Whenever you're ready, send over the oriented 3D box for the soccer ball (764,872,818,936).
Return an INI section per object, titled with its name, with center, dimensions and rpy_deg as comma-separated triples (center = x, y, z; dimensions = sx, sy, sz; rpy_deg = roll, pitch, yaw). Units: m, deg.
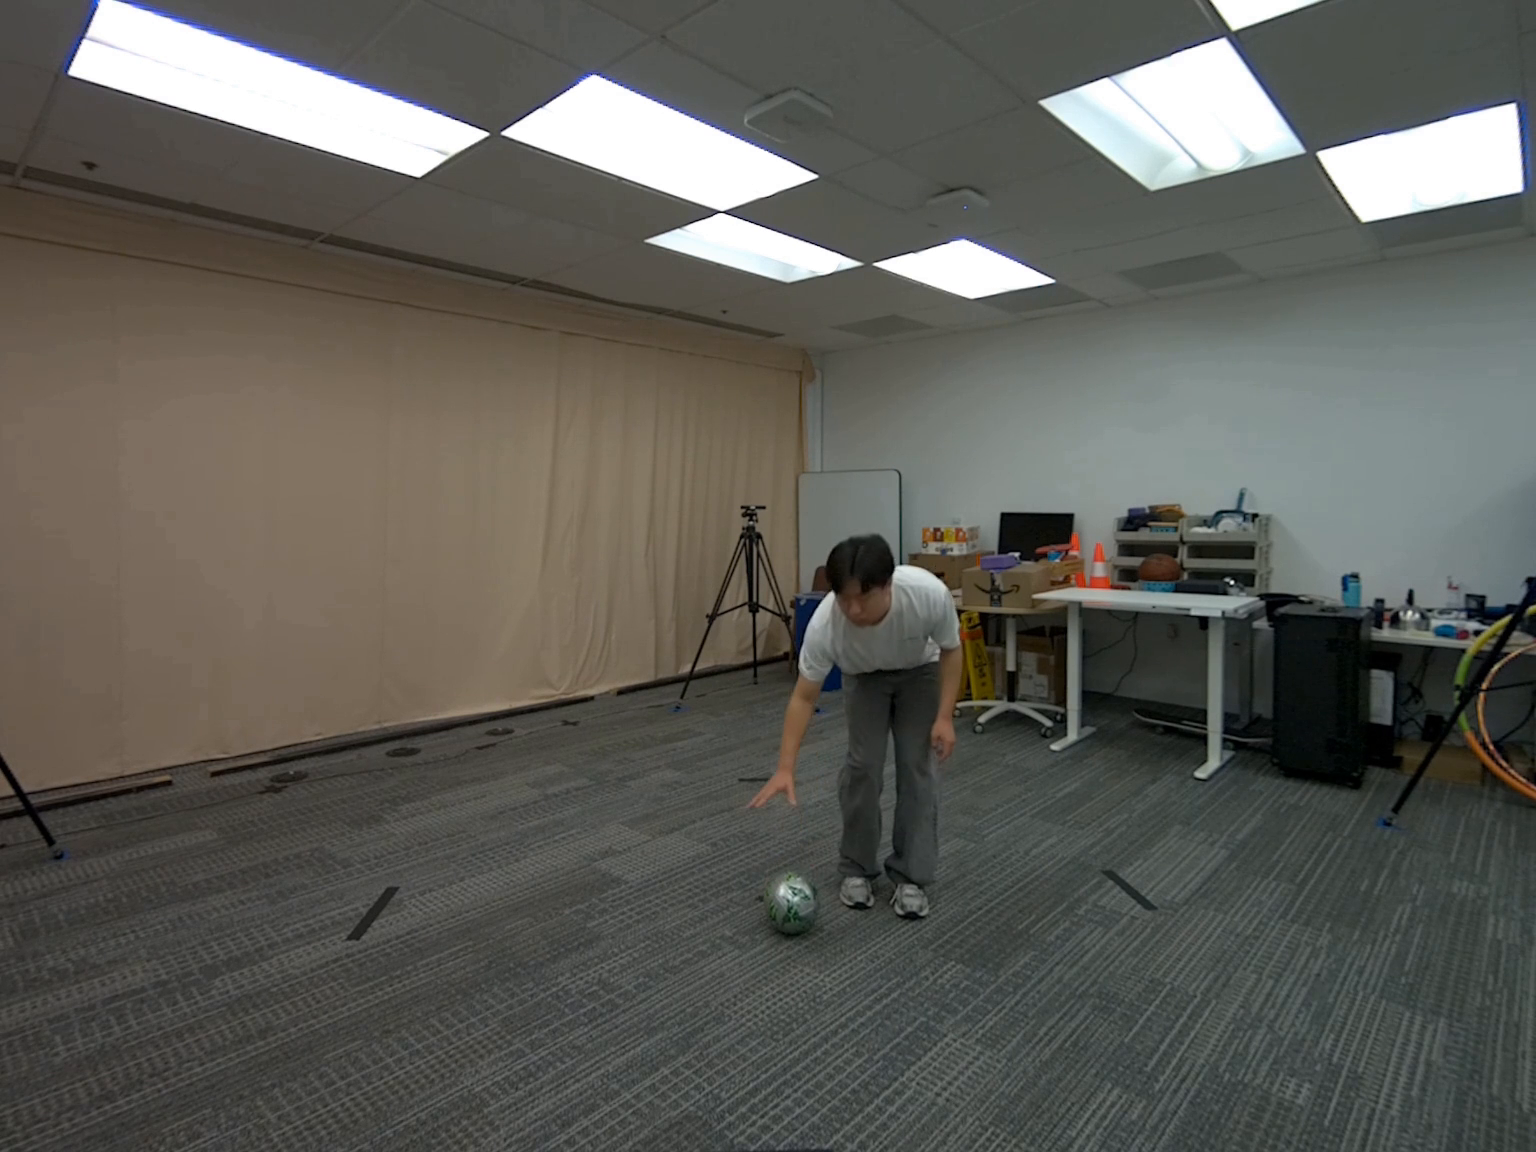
[soccer ball]
center = 0.083, 1.075, 2.752
dimensions = 0.187, 0.187, 0.188
rpy_deg = 0, 4, -2
